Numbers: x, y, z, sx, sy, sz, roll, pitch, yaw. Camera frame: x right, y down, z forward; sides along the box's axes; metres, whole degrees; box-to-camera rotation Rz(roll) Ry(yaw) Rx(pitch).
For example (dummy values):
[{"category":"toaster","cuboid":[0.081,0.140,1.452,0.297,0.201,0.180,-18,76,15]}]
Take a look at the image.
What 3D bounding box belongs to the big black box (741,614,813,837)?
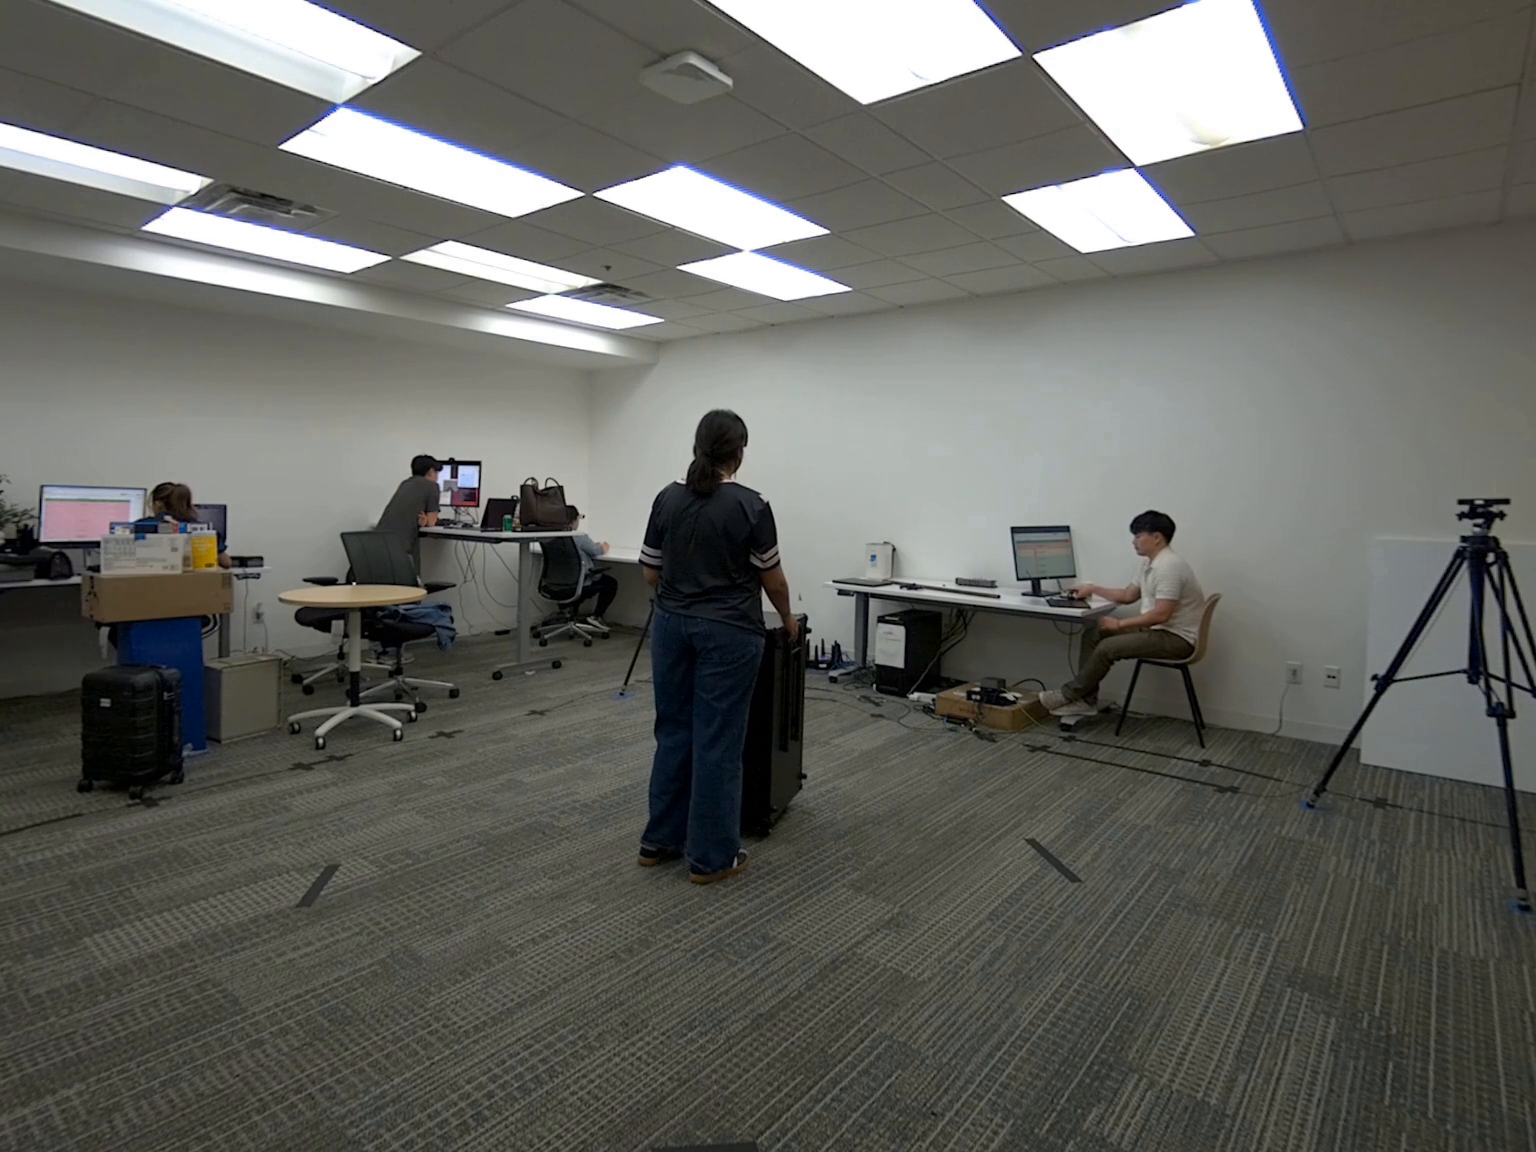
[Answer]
[{"category":"big black box","cuboid":[-0.081,0.603,3.607,0.393,0.866,0.514,3,4,18]}]
